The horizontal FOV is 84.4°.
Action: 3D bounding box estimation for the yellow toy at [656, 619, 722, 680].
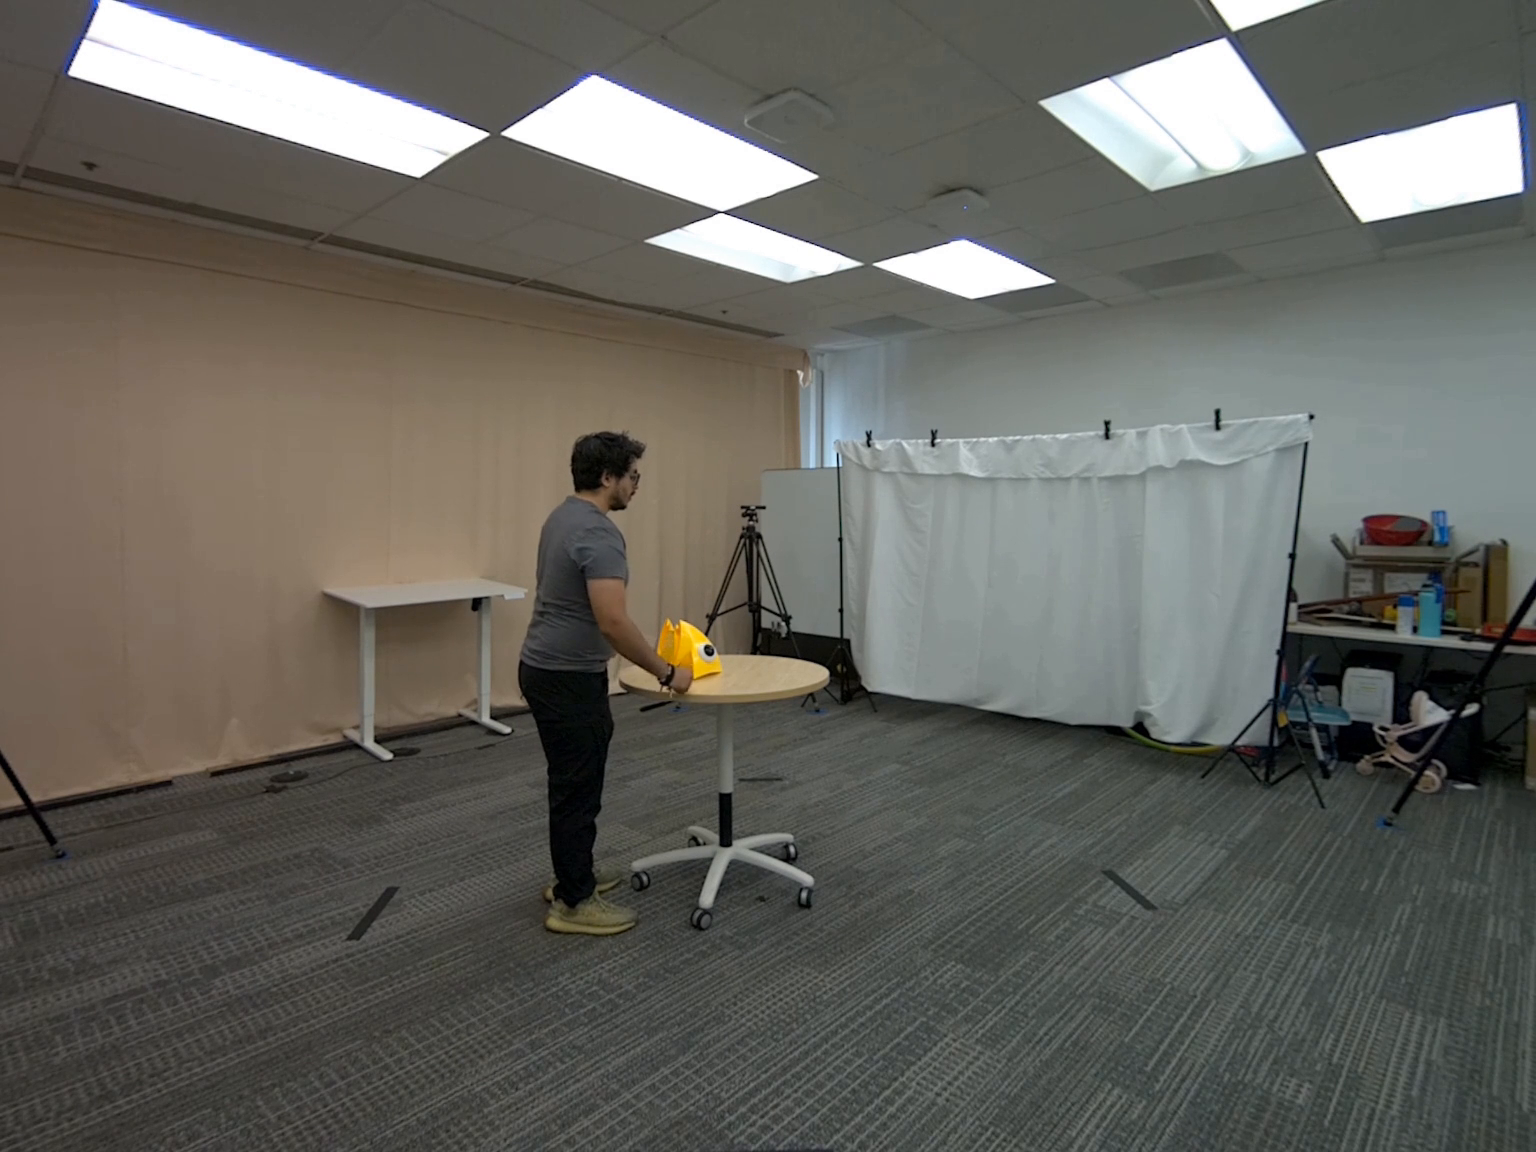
[{"bbox_3d":[-0.257,0.269,3.050,0.224,0.193,0.210,11,-3,-26],"label":"yellow toy"}]
